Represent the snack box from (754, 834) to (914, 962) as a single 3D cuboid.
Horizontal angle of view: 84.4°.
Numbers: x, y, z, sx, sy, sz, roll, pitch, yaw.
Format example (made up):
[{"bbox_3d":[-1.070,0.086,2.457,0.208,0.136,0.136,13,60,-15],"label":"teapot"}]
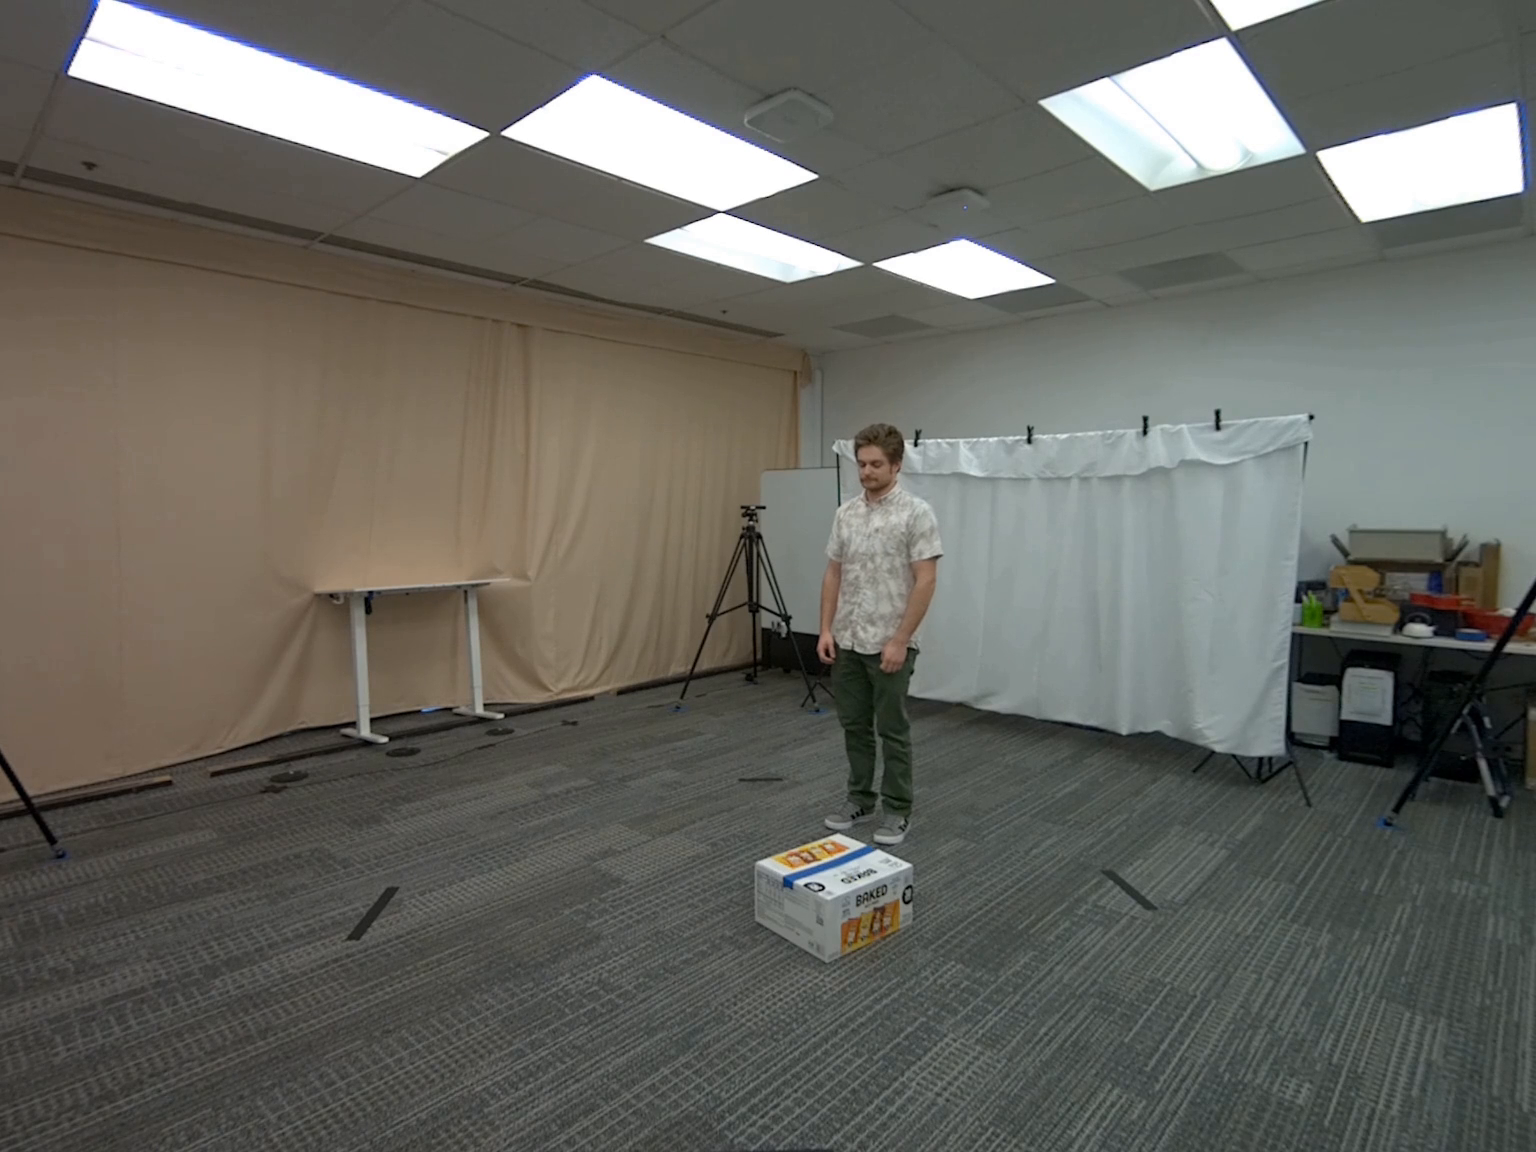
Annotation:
[{"bbox_3d":[0.222,1.058,2.799,0.393,0.205,0.351,-4,5,-39],"label":"snack box"}]
